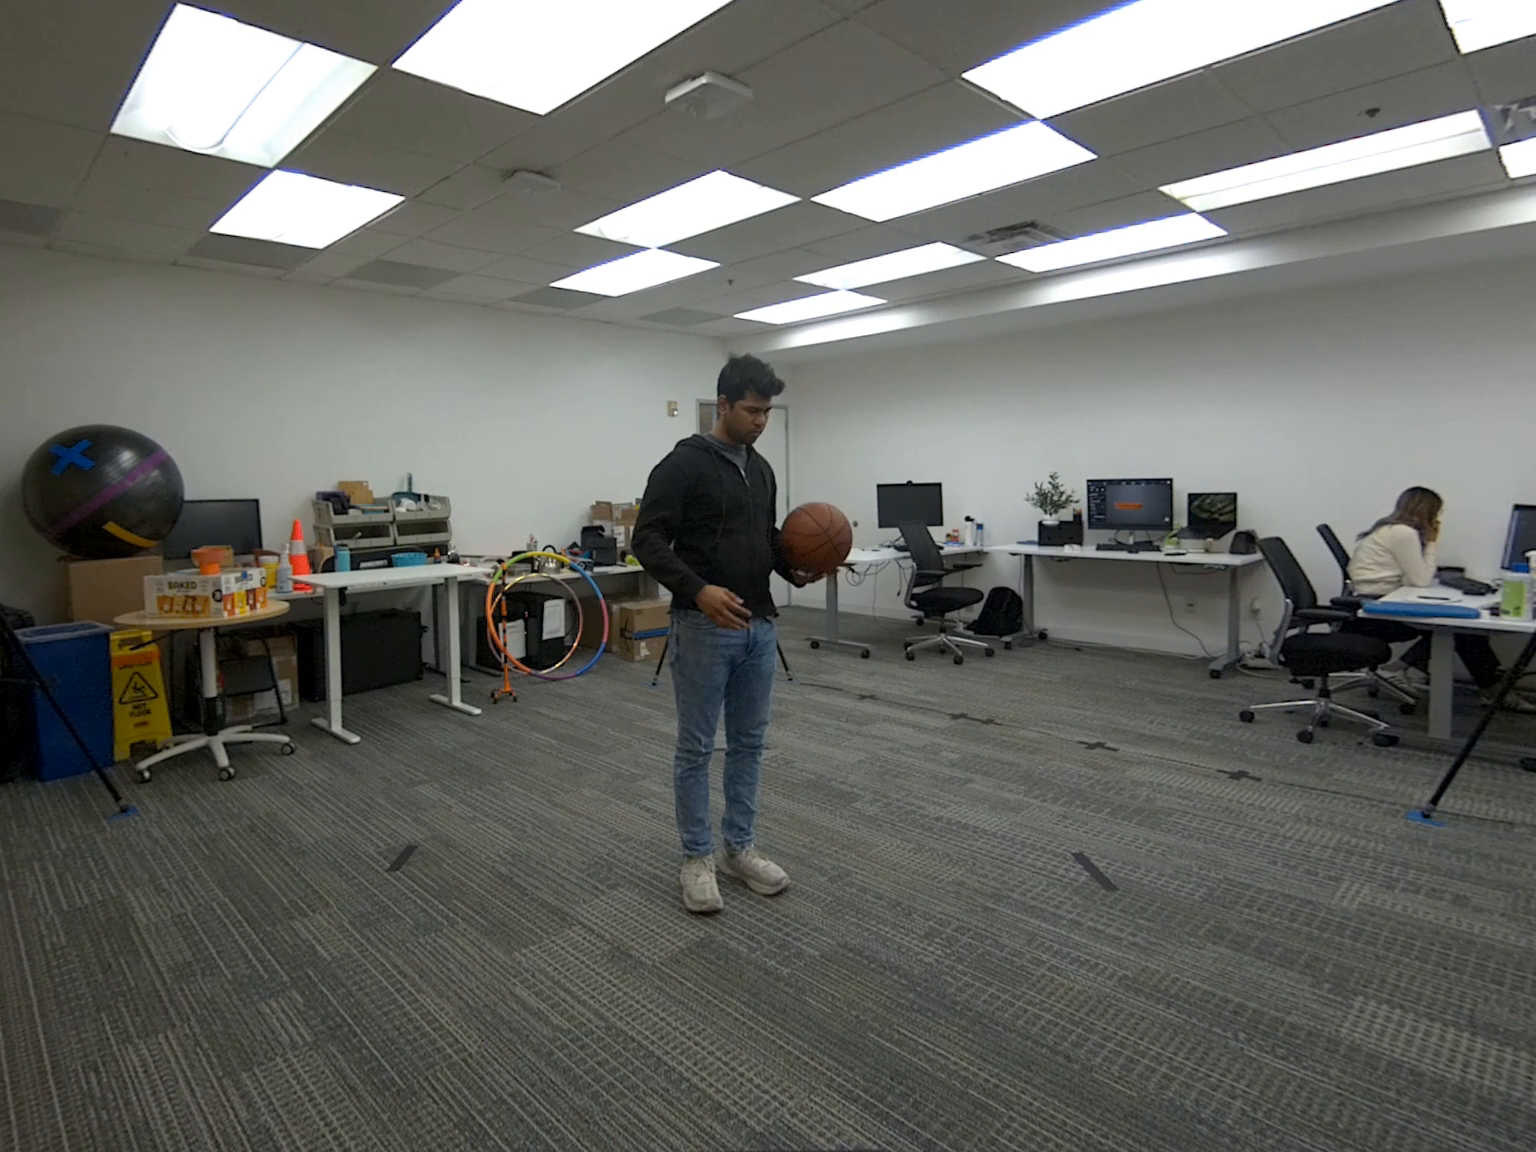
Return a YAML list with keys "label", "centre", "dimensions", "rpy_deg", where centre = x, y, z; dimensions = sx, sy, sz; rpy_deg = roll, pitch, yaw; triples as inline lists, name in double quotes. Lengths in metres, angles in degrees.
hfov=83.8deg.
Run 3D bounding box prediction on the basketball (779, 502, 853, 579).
- label: "basketball"
  centre: [0.132, -0.129, 2.802]
  dimensions: [0.236, 0.235, 0.237]
  rpy_deg: [-1, 5, -2]
